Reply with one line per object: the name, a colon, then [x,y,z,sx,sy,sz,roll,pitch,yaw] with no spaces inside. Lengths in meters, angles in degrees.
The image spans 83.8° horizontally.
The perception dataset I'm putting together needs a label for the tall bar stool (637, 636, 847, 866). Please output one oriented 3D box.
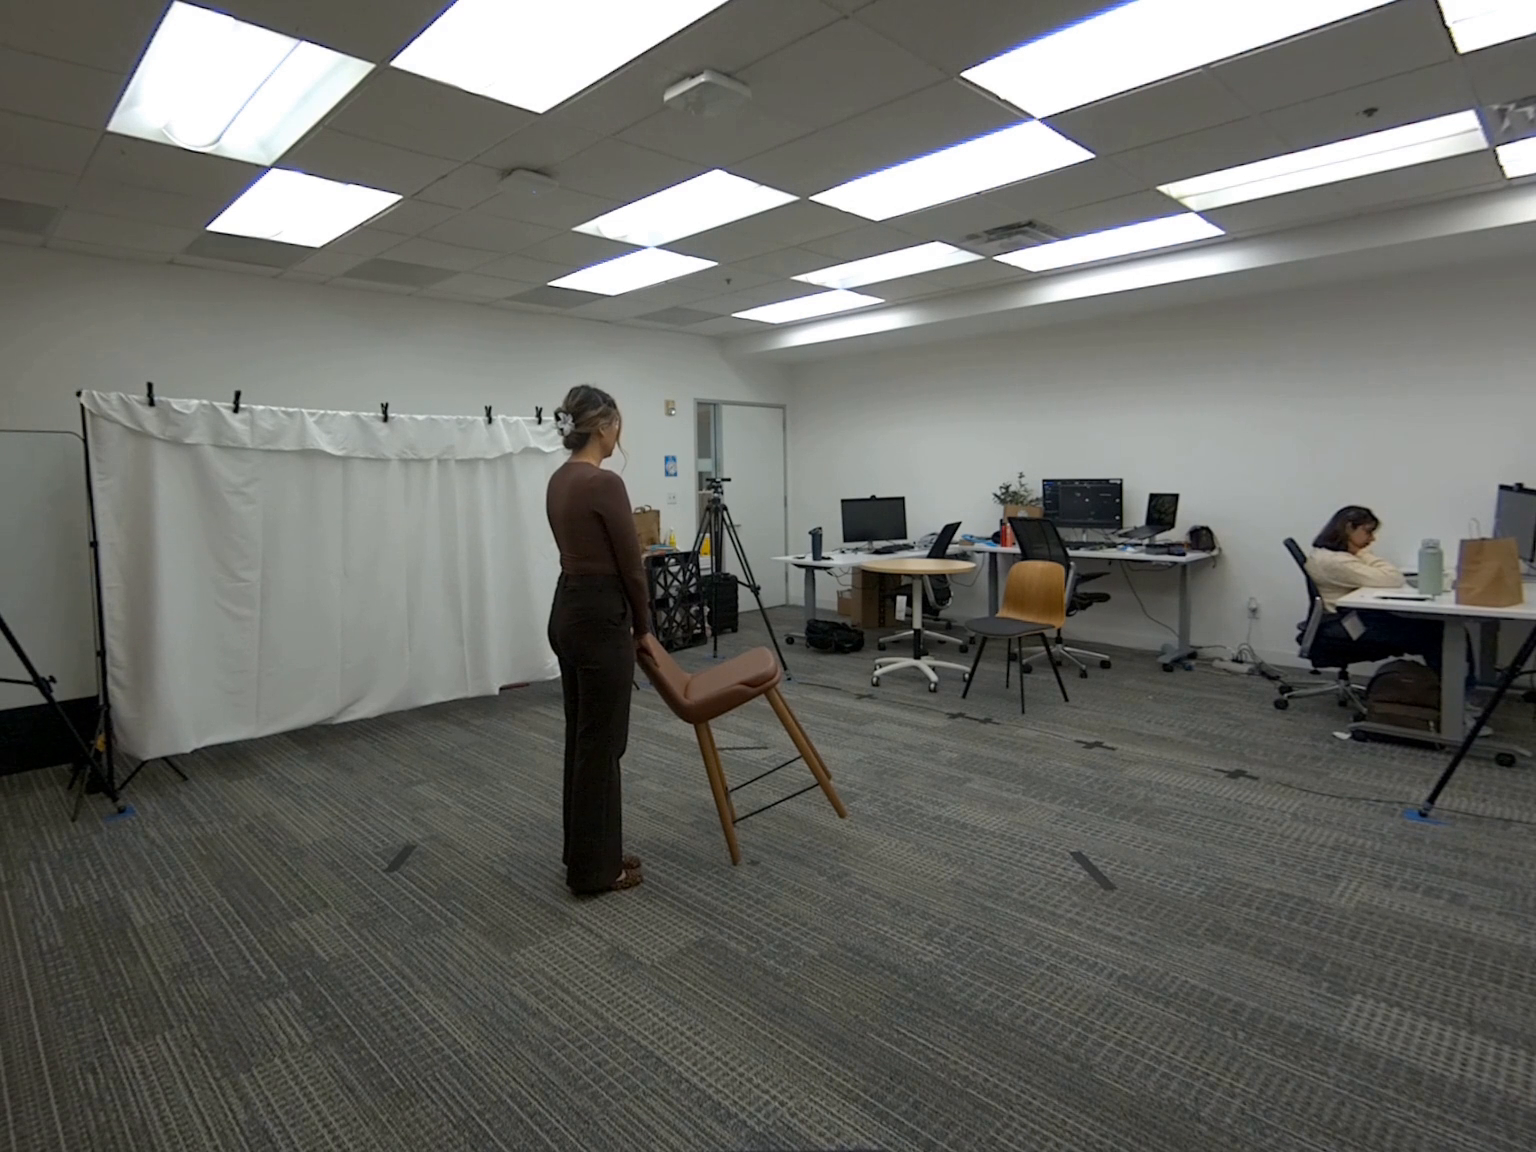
tall bar stool: [-0.121,0.544,3.246,0.468,0.885,0.459,-27,4,1]
